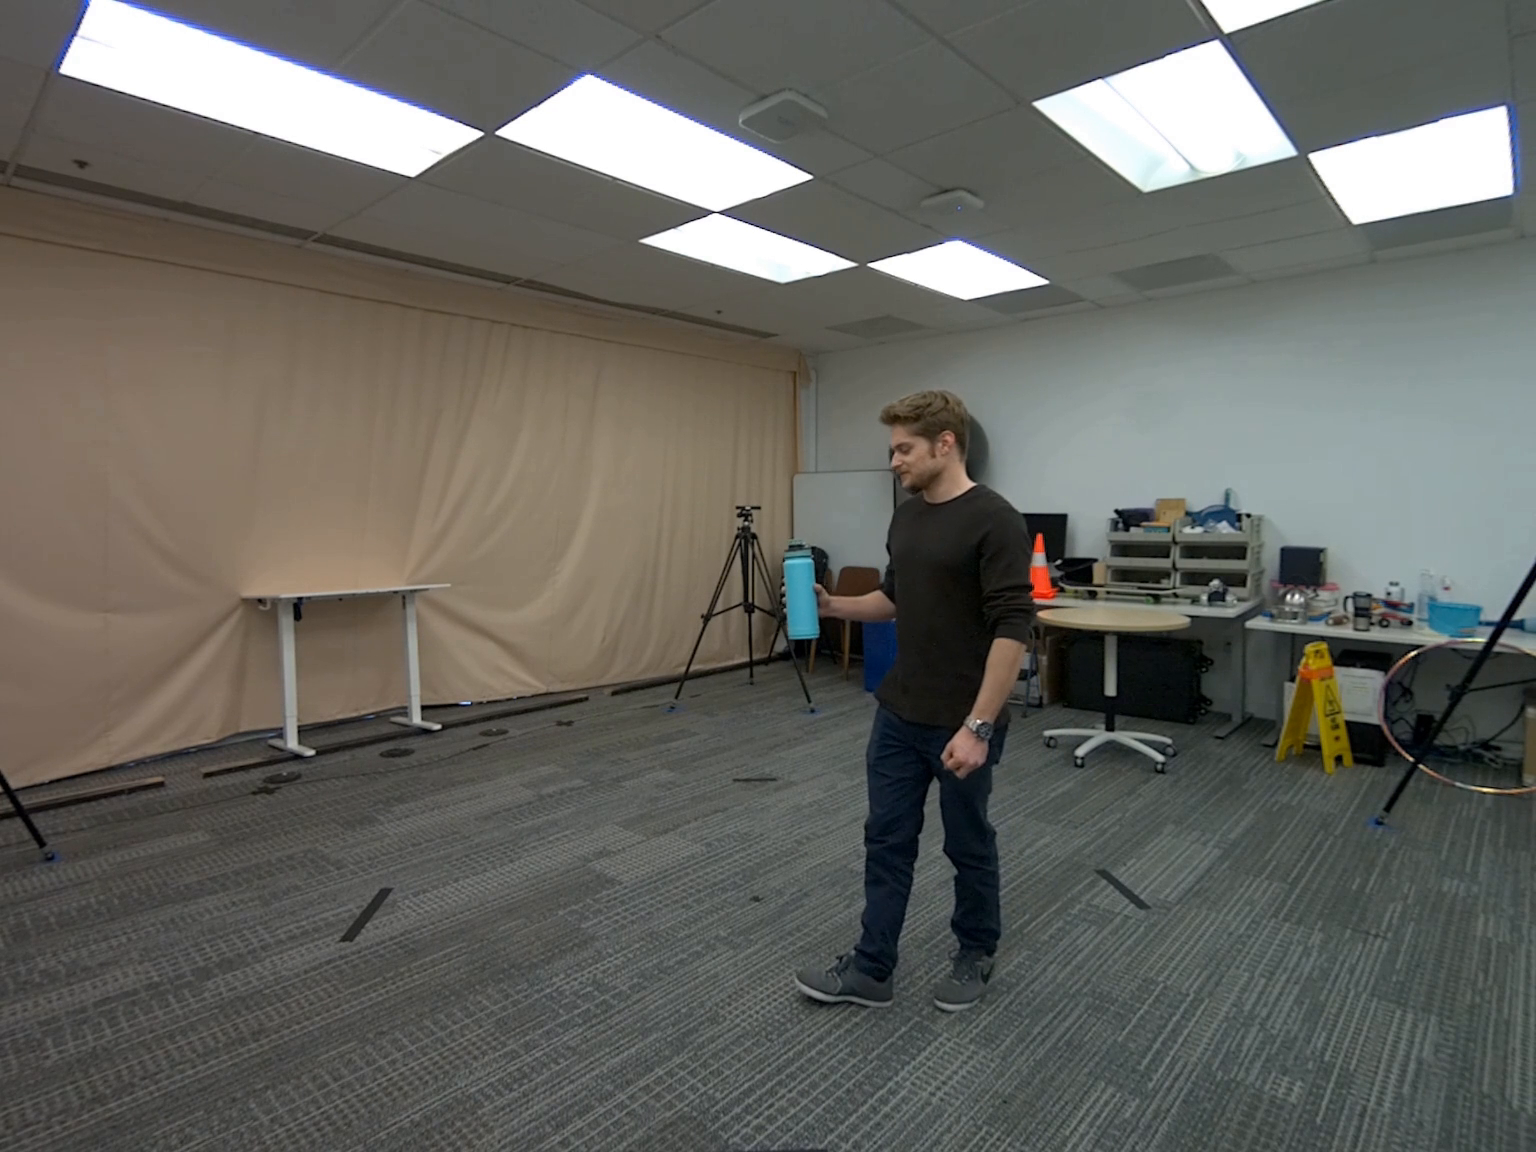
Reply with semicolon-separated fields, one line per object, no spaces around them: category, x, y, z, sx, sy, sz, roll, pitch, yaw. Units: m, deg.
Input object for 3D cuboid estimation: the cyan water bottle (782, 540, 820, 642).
cyan water bottle;0.101;0.037;2.417;0.092;0.284;0.092;-5;-5;-2
